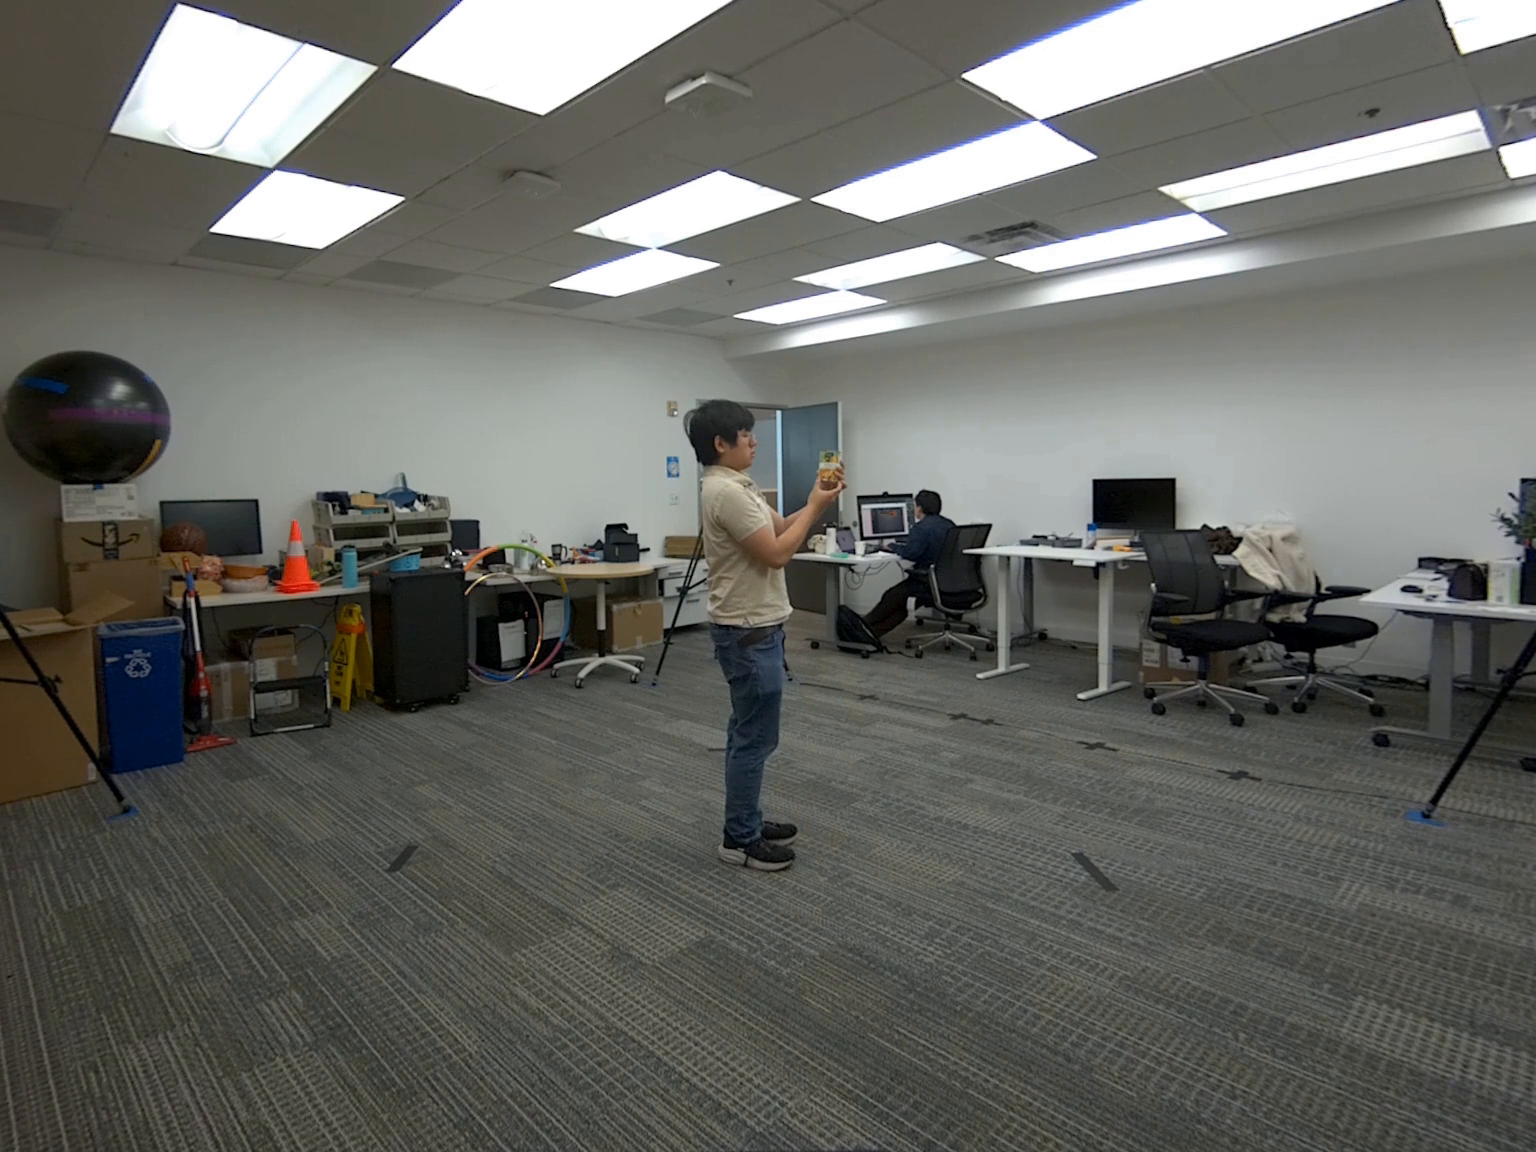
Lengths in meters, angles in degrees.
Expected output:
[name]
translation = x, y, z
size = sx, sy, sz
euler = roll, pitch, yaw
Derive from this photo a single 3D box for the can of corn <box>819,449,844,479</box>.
[can of corn]
translation = 0.229, -0.399, 3.120
size = 0.074, 0.111, 0.074
euler = 0, -5, -2
